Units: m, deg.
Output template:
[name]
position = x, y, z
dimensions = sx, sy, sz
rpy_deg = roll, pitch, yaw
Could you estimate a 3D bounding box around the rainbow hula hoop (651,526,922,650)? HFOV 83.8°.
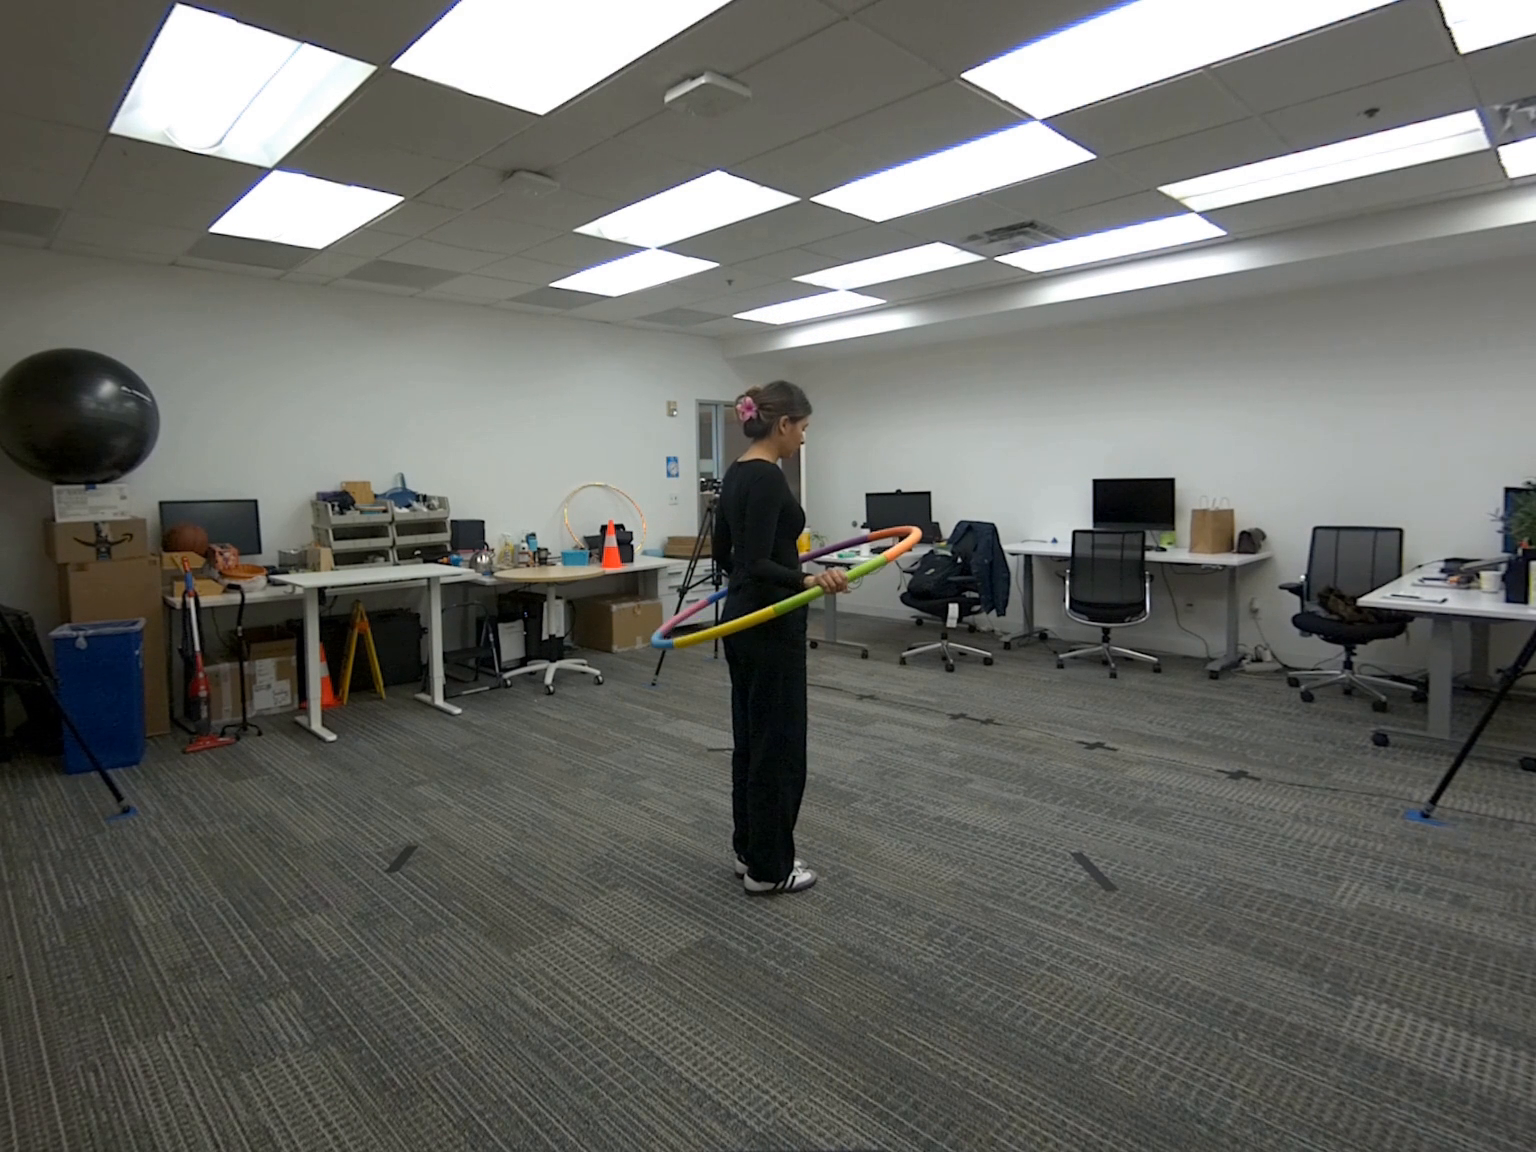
[rainbow hula hoop]
position = 0.045, 0.025, 2.910
dimensions = 0.979, 0.035, 0.983
rpy_deg = -23, 6, 0
